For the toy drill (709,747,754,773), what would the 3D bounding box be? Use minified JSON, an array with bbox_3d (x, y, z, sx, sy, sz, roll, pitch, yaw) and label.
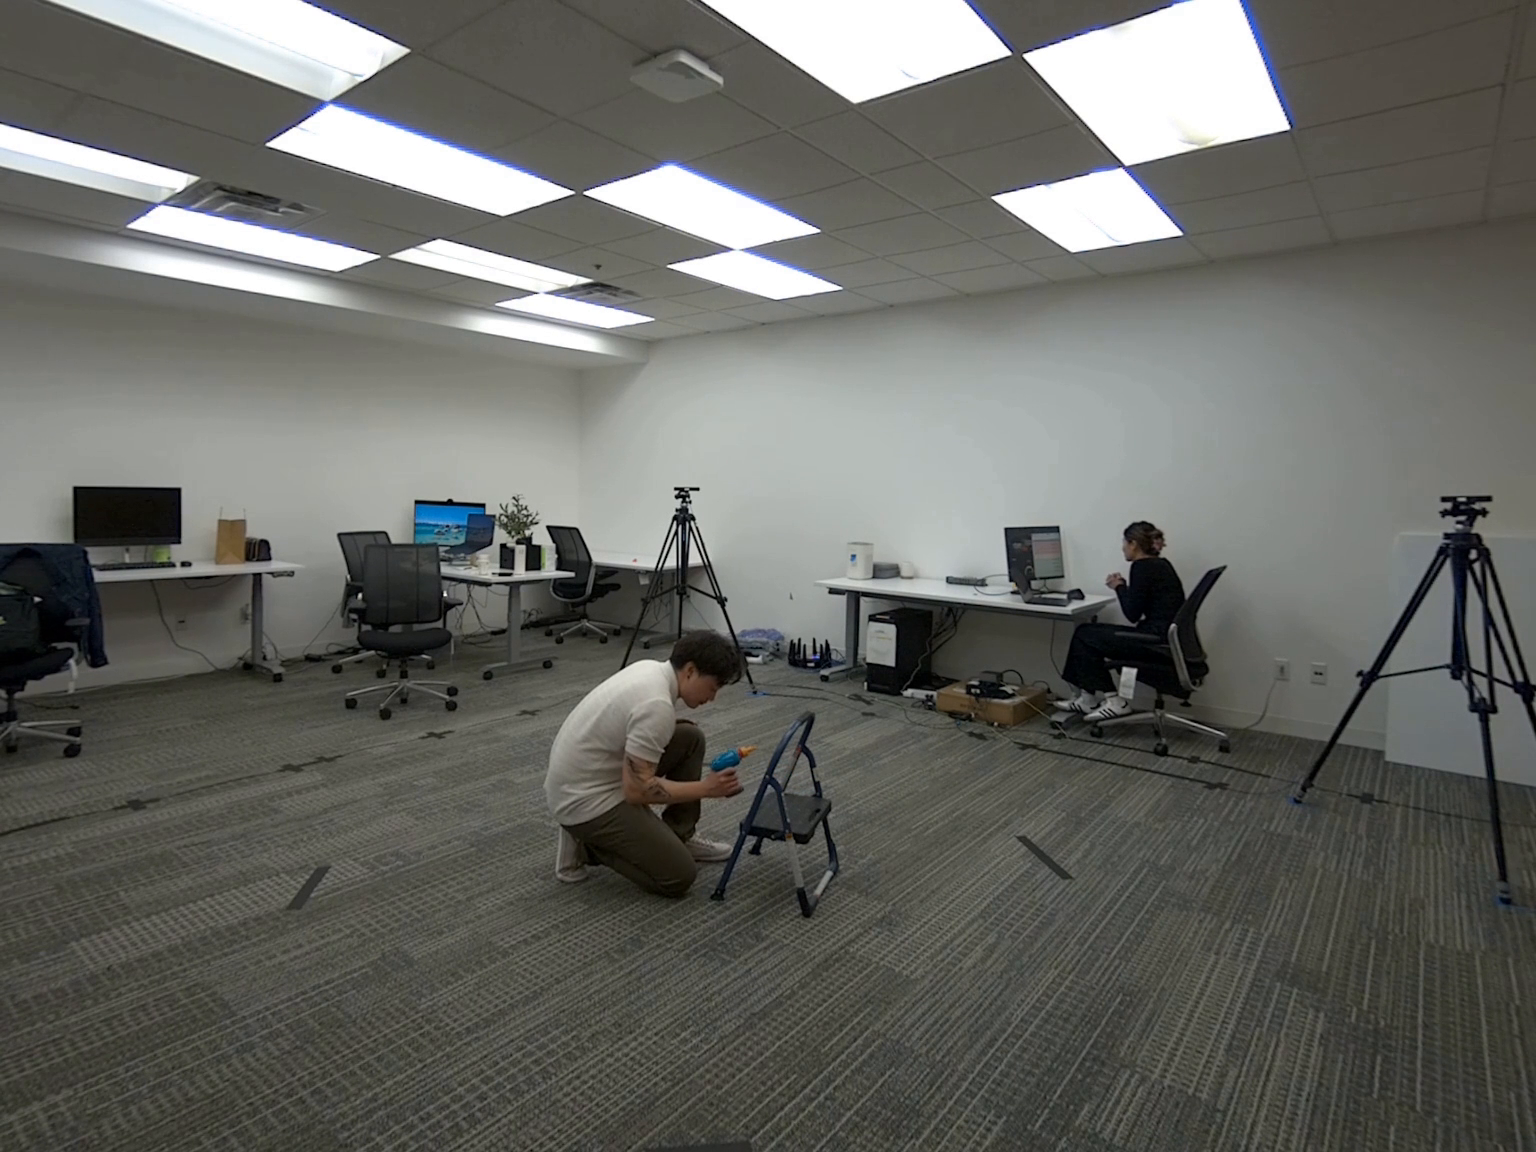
[{"bbox_3d":[-0.113,0.657,2.842,0.168,0.144,0.062,-21,12,-15],"label":"toy drill"}]
